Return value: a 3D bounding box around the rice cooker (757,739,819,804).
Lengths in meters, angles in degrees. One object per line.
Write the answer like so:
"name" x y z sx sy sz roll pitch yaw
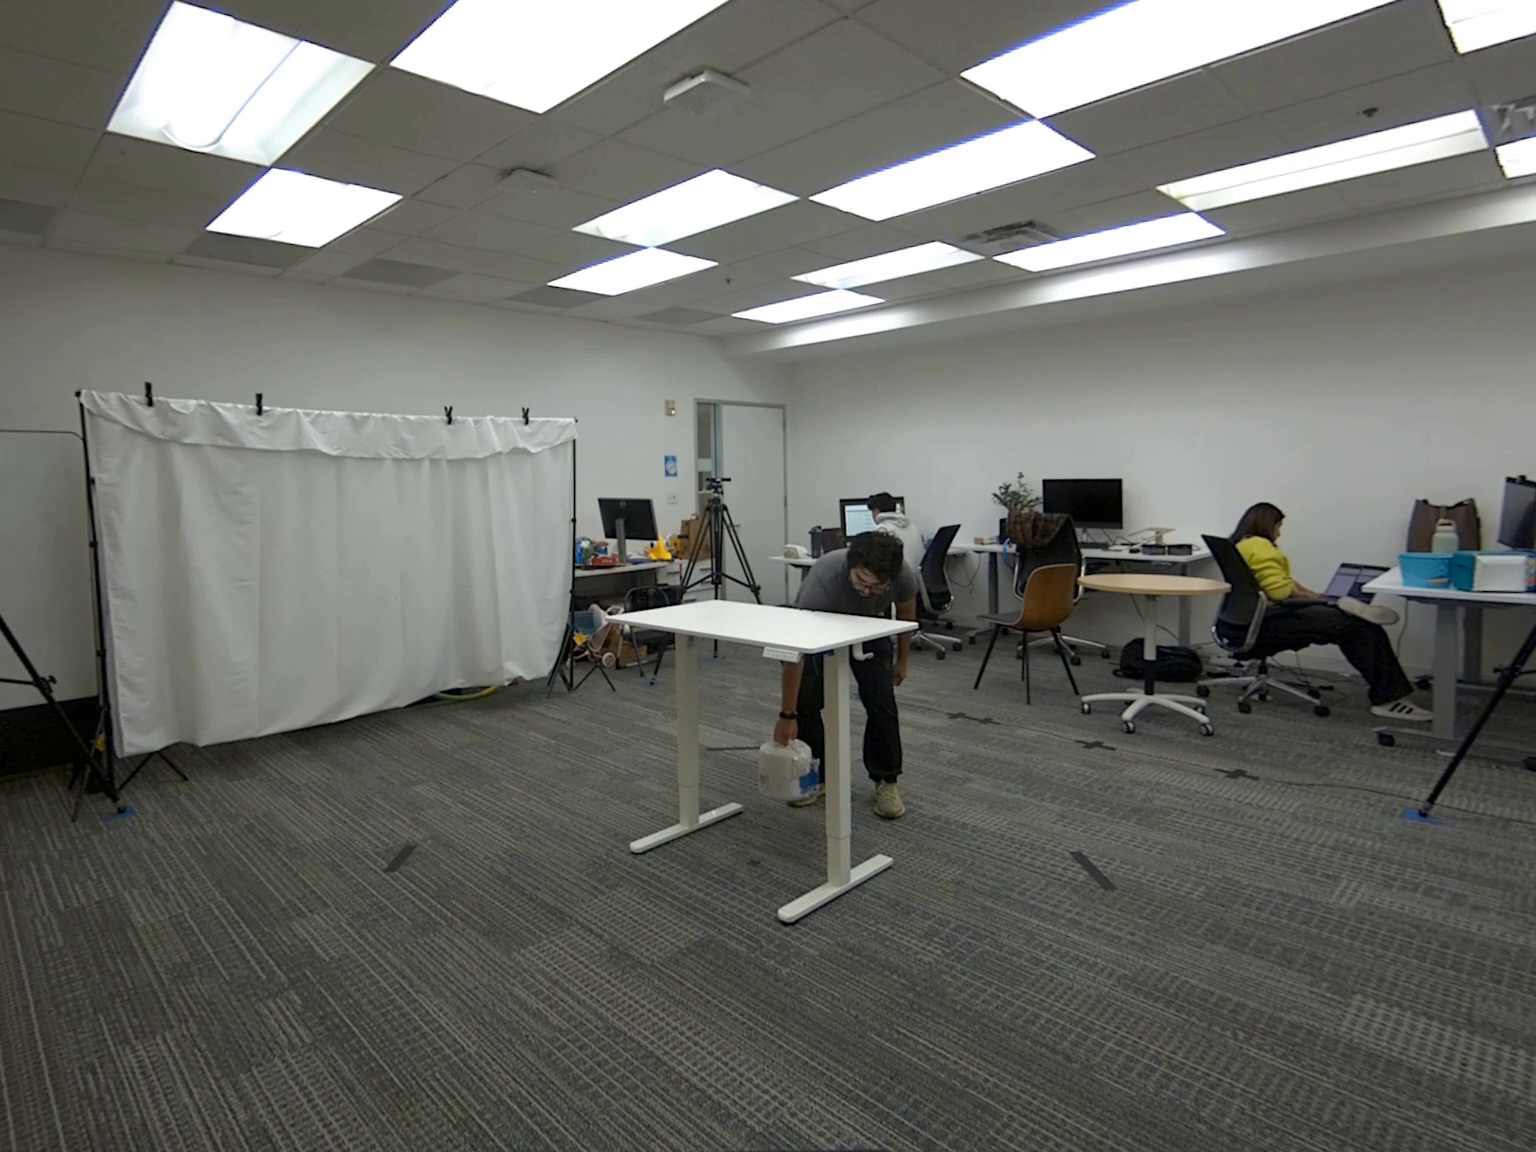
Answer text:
"rice cooker" 0.068 0.753 3.408 0.212 0.232 0.227 -4 6 -33
